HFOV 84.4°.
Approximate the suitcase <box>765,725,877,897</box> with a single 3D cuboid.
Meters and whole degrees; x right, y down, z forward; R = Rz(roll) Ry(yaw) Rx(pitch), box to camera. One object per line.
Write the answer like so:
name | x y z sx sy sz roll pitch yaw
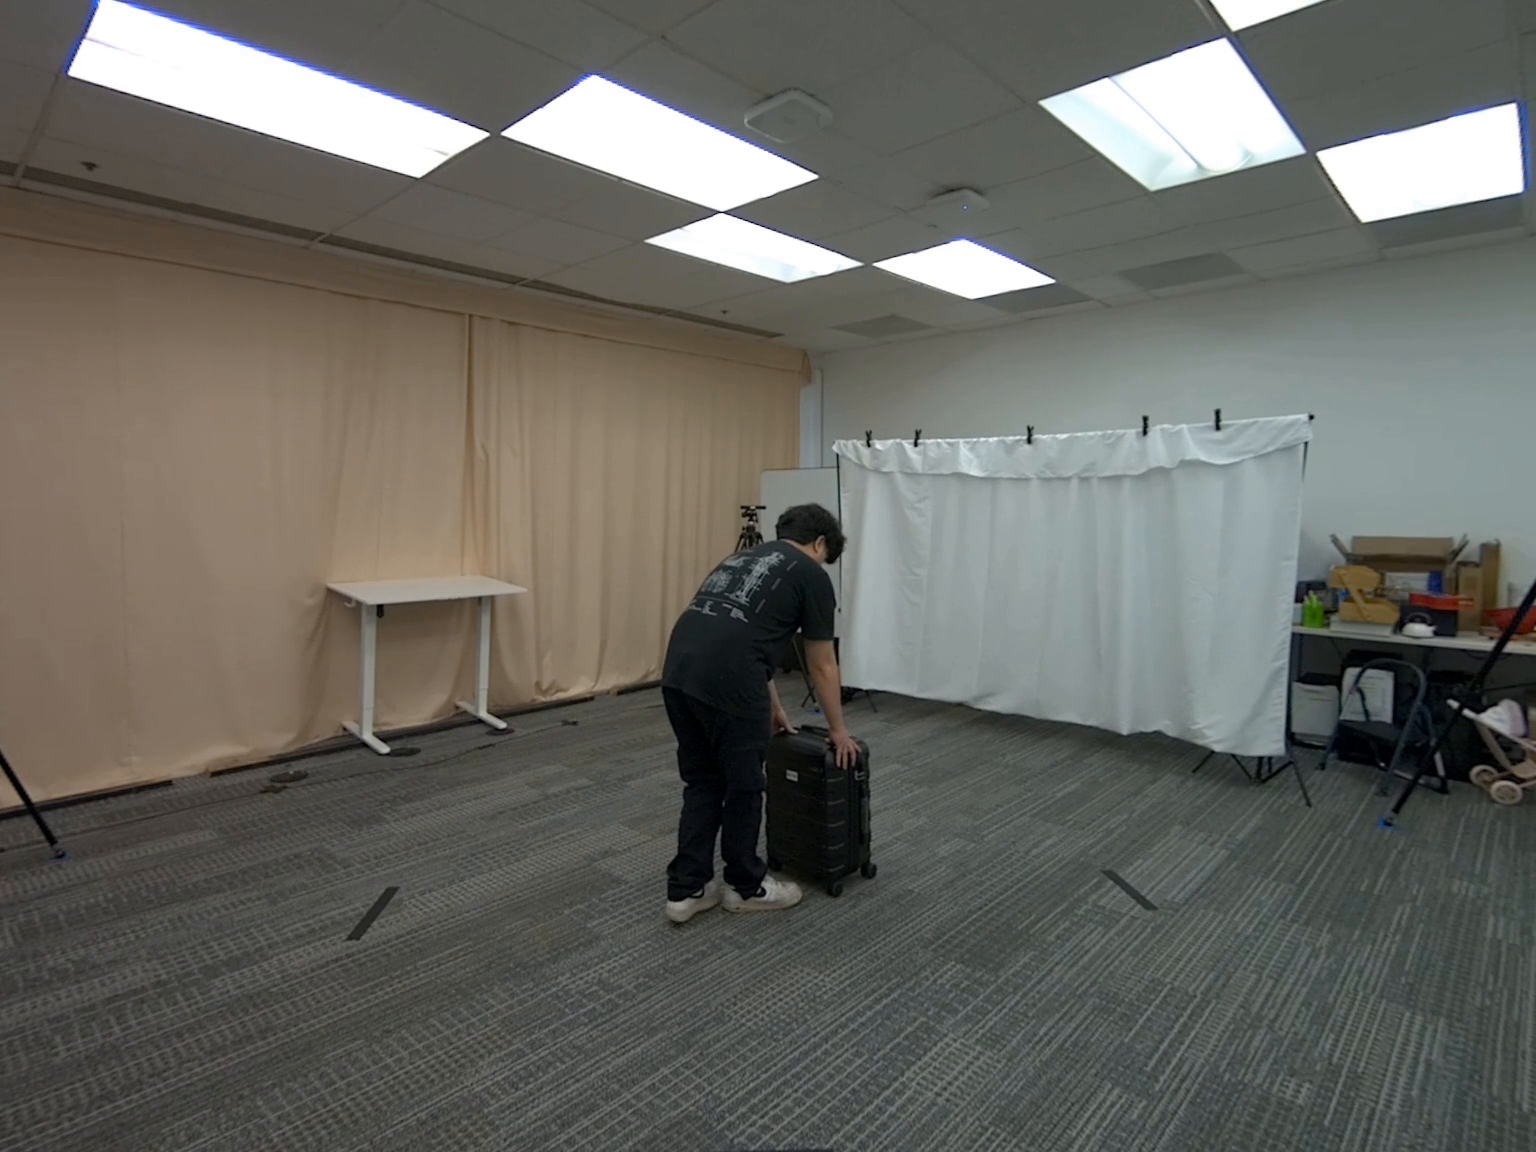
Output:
suitcase | 0.192 0.855 3.156 0.241 0.547 0.388 -6 7 -44
